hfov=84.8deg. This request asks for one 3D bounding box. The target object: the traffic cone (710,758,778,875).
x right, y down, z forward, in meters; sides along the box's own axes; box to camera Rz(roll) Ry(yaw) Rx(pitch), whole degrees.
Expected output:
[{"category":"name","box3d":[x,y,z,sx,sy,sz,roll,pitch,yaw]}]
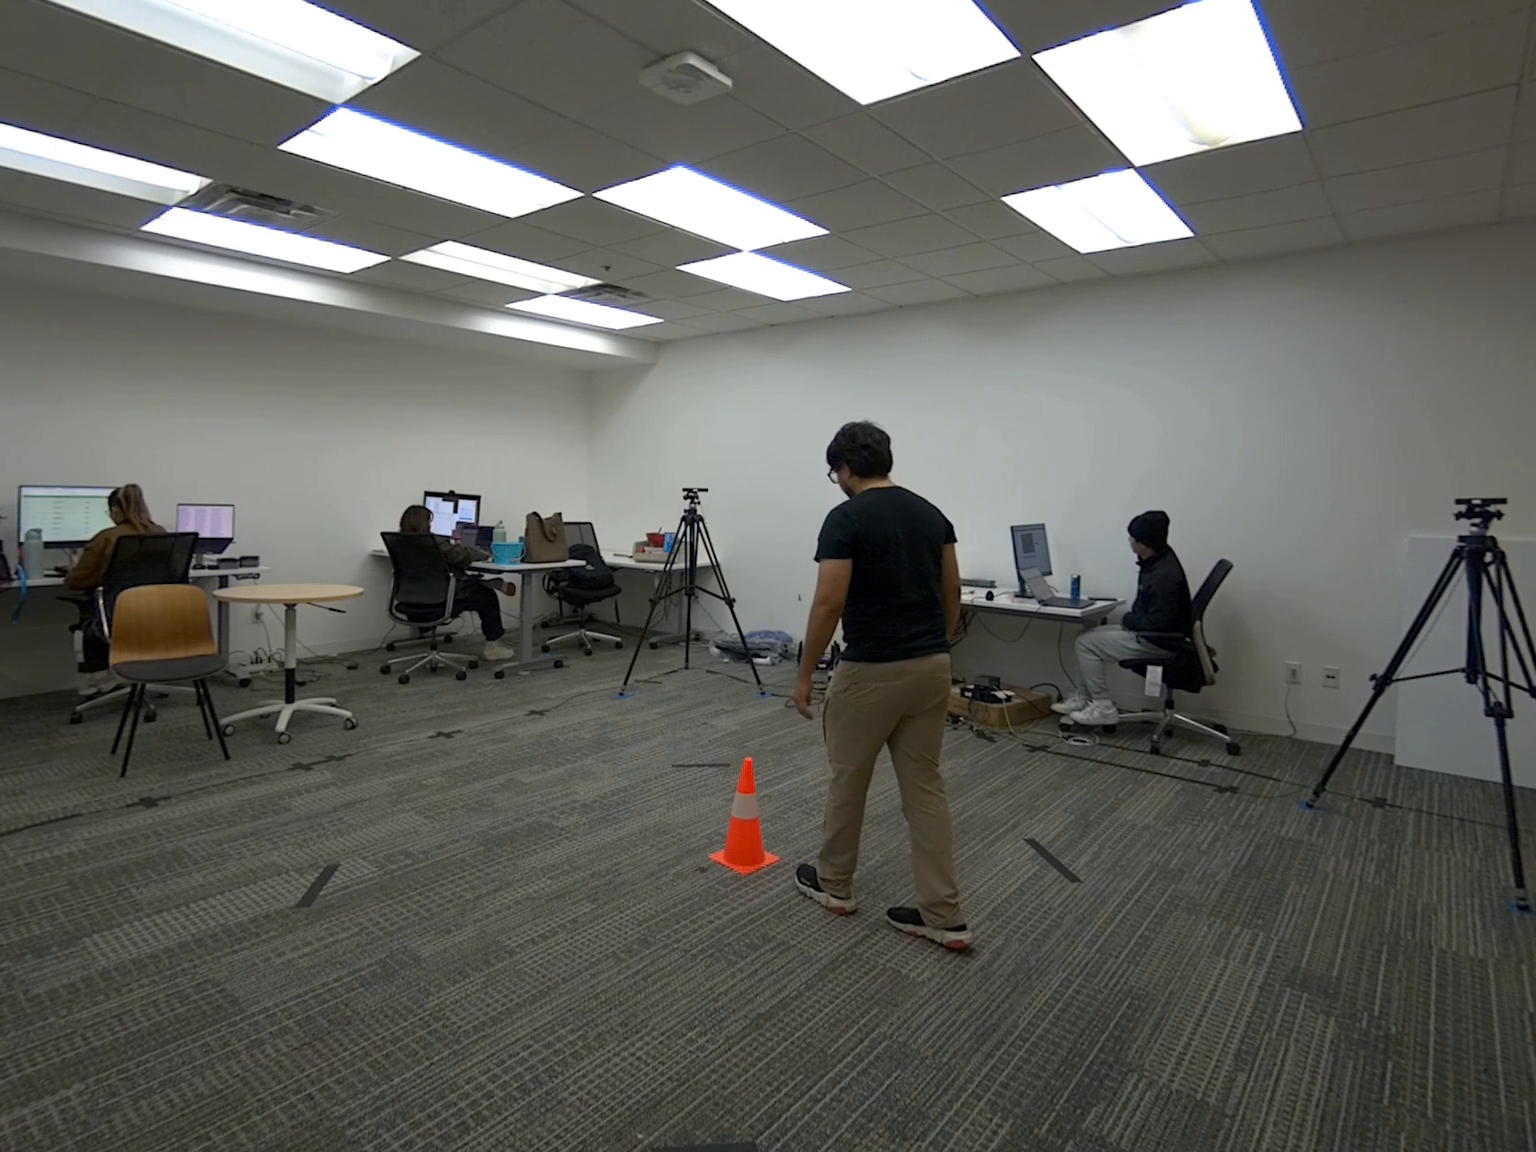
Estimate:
[{"category":"traffic cone","box3d":[-0.093,0.878,3.202,0.197,0.382,0.212,-2,5,-43]}]
